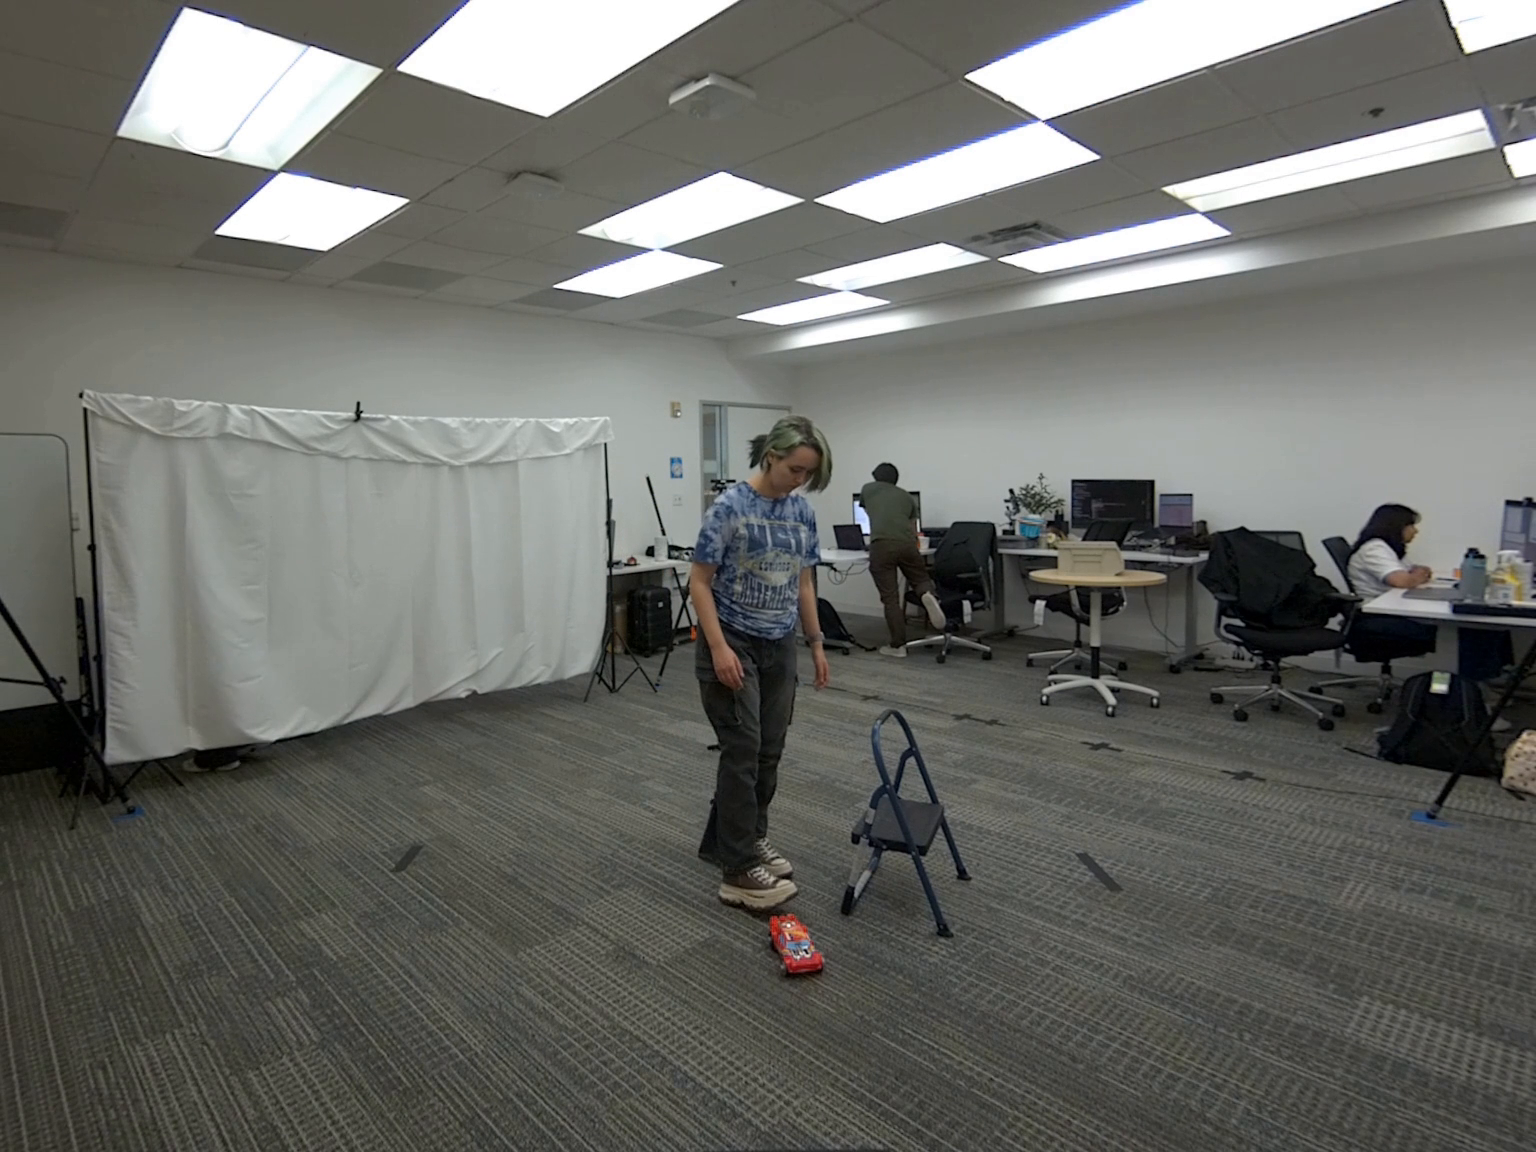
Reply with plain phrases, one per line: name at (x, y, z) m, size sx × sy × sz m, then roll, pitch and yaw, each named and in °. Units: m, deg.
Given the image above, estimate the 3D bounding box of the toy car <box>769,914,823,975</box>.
toy car at (0.077, 1.085, 2.503) m, size 0.129 × 0.082 × 0.261 m, roll -2°, pitch 17°, yaw -13°
